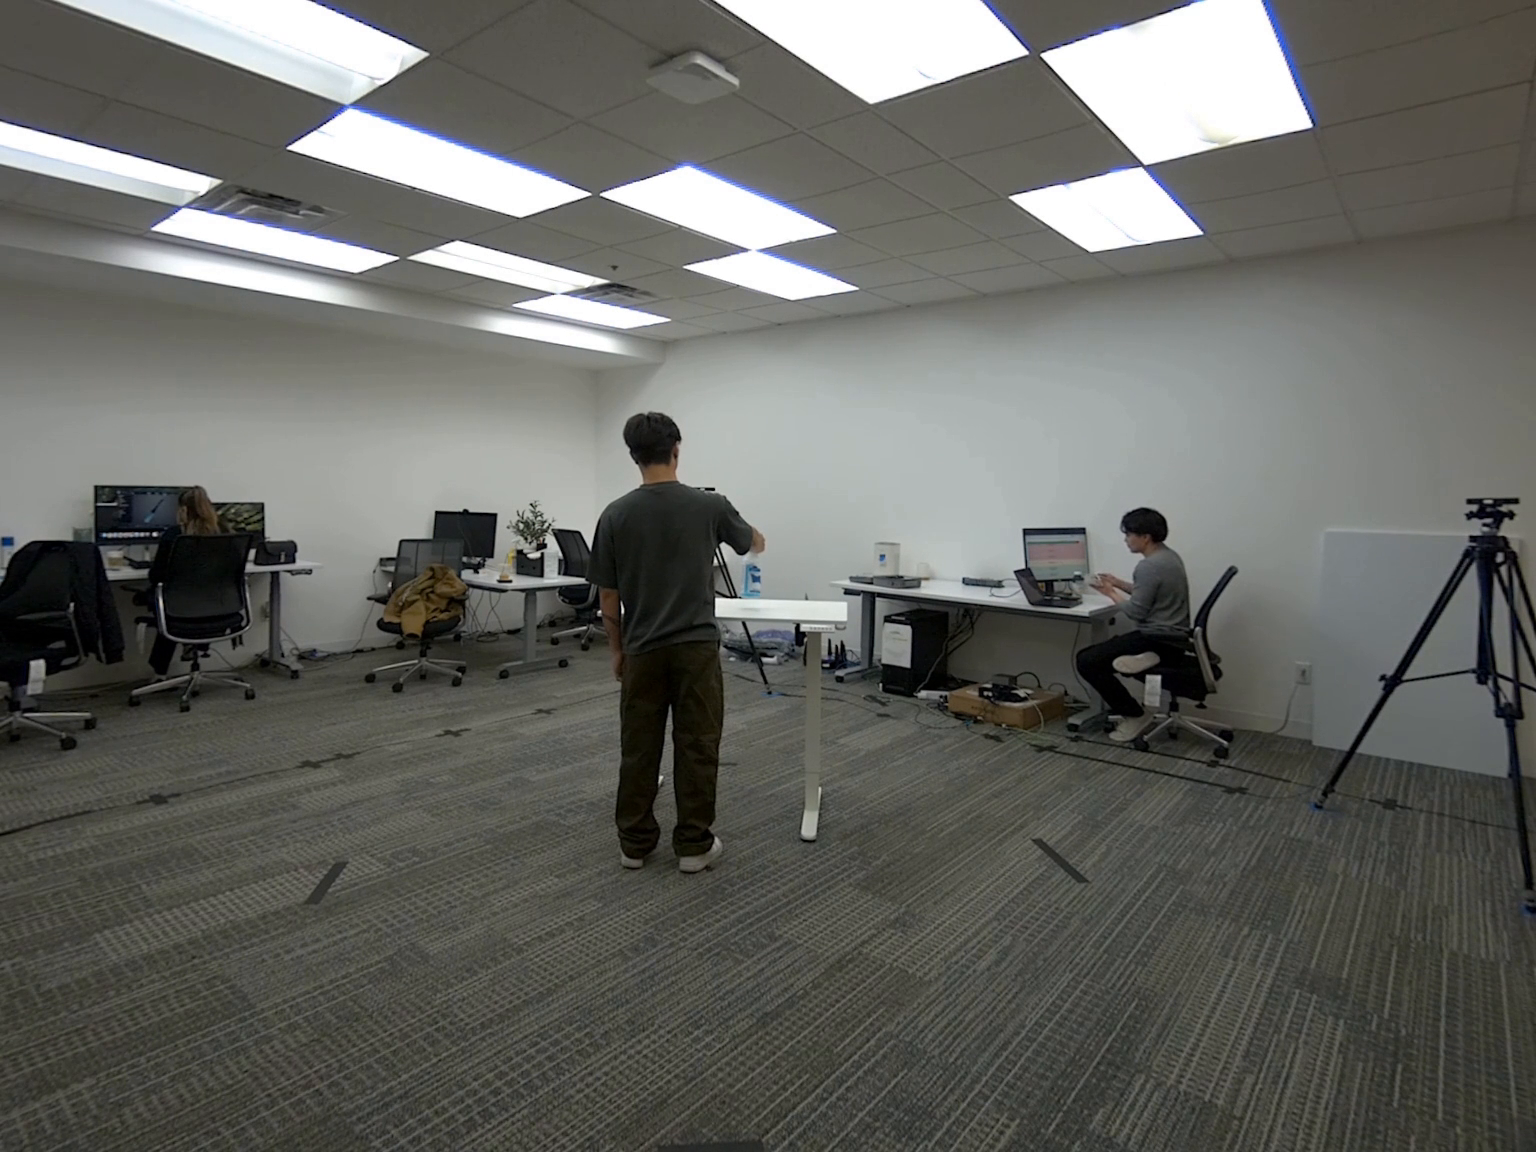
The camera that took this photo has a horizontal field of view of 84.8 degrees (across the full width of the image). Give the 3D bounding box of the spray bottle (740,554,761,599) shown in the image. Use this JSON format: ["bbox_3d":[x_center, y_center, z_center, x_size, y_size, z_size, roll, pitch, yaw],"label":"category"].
[{"bbox_3d":[-0.076,-0.060,3.640,0.089,0.299,0.087,0,-7,29],"label":"spray bottle"}]
